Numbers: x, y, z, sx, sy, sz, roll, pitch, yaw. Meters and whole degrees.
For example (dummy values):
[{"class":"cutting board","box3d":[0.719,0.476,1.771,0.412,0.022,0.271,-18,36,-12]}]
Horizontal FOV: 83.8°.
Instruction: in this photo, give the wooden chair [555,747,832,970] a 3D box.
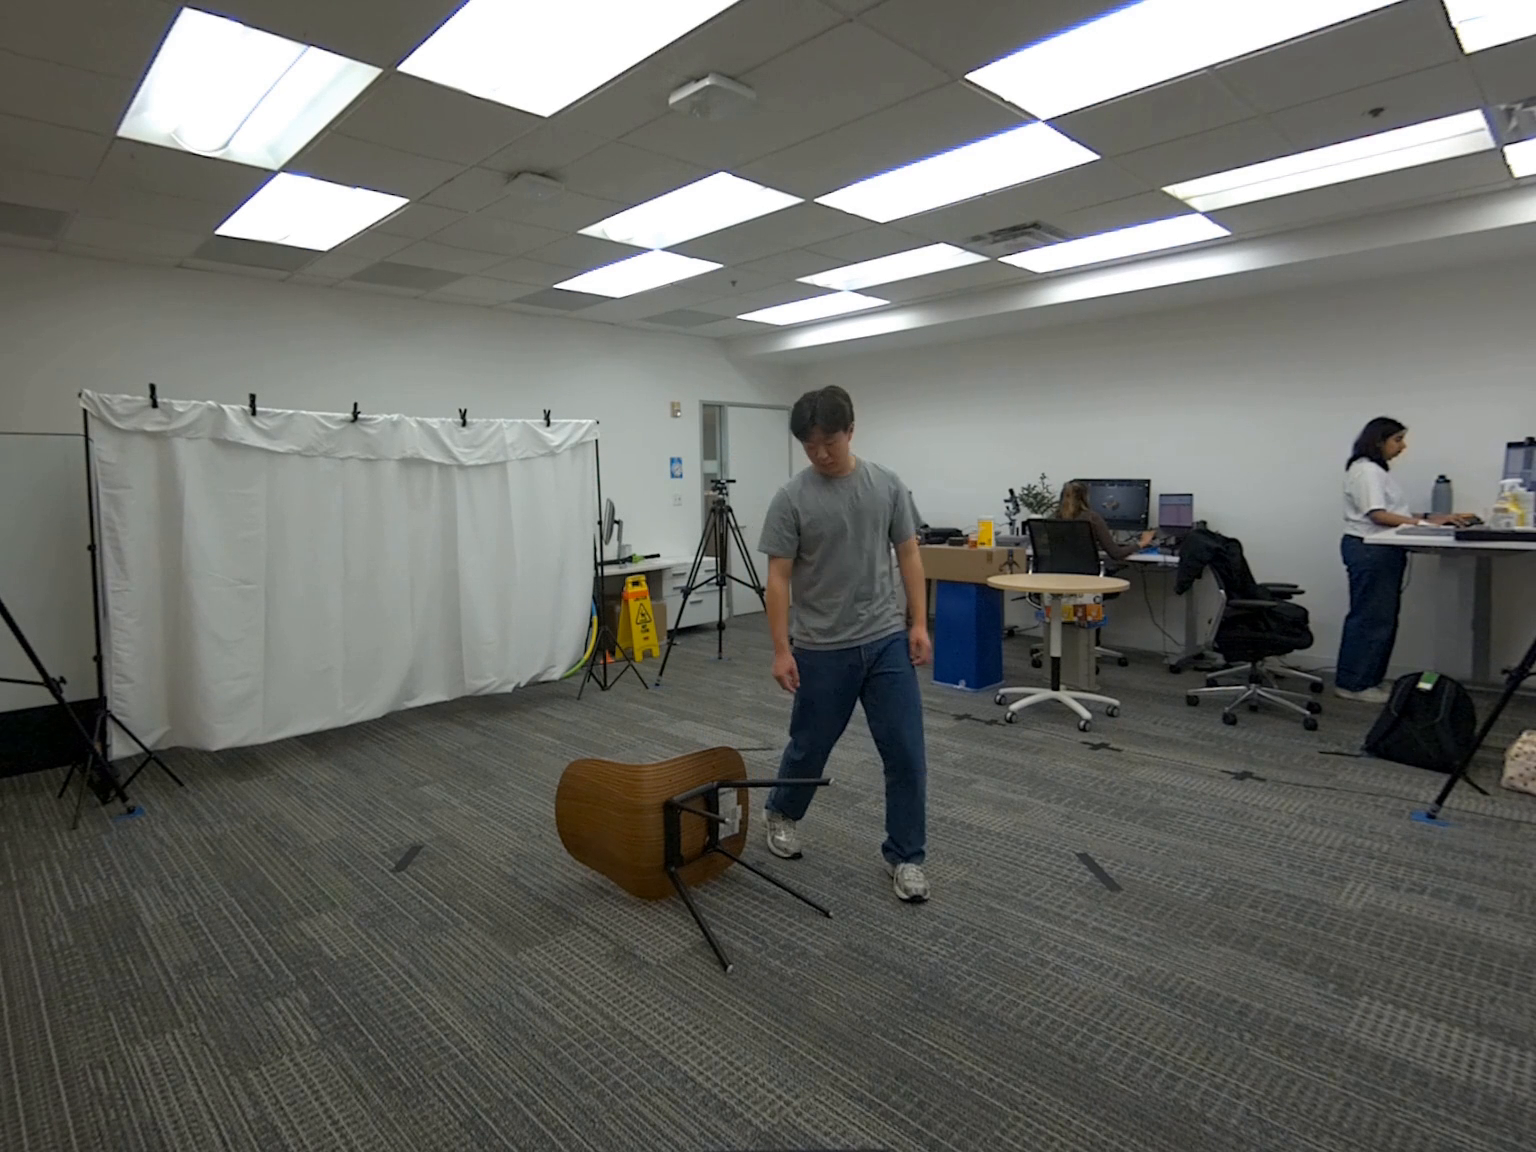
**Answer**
[{"class":"wooden chair","box3d":[-0.245,0.845,2.870,0.905,0.476,0.510,5,8,42]}]
